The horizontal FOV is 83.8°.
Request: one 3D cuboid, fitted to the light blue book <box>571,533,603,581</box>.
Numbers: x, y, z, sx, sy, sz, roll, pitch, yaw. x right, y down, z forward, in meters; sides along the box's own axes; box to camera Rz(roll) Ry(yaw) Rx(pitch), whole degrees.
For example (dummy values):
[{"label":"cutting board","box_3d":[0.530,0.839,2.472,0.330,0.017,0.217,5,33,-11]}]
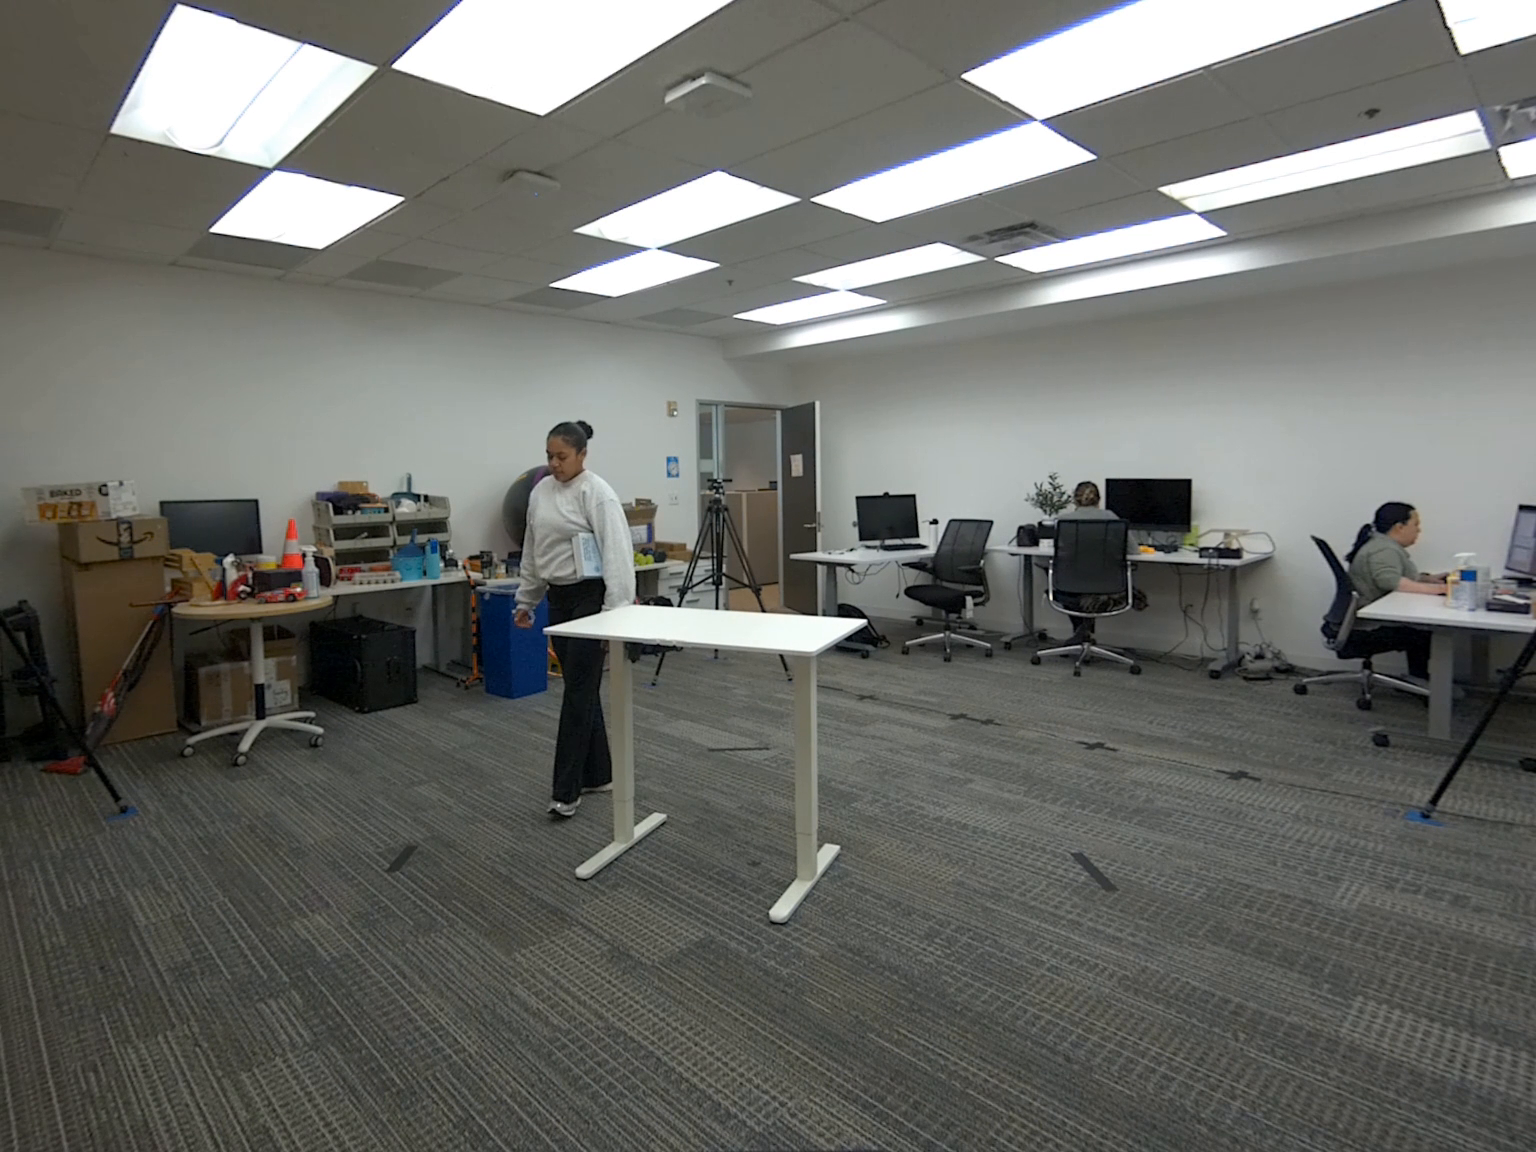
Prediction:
[{"label":"light blue book","box_3d":[-0.710,-0.086,3.656,0.254,0.193,0.060,-2,-12,-43]}]
